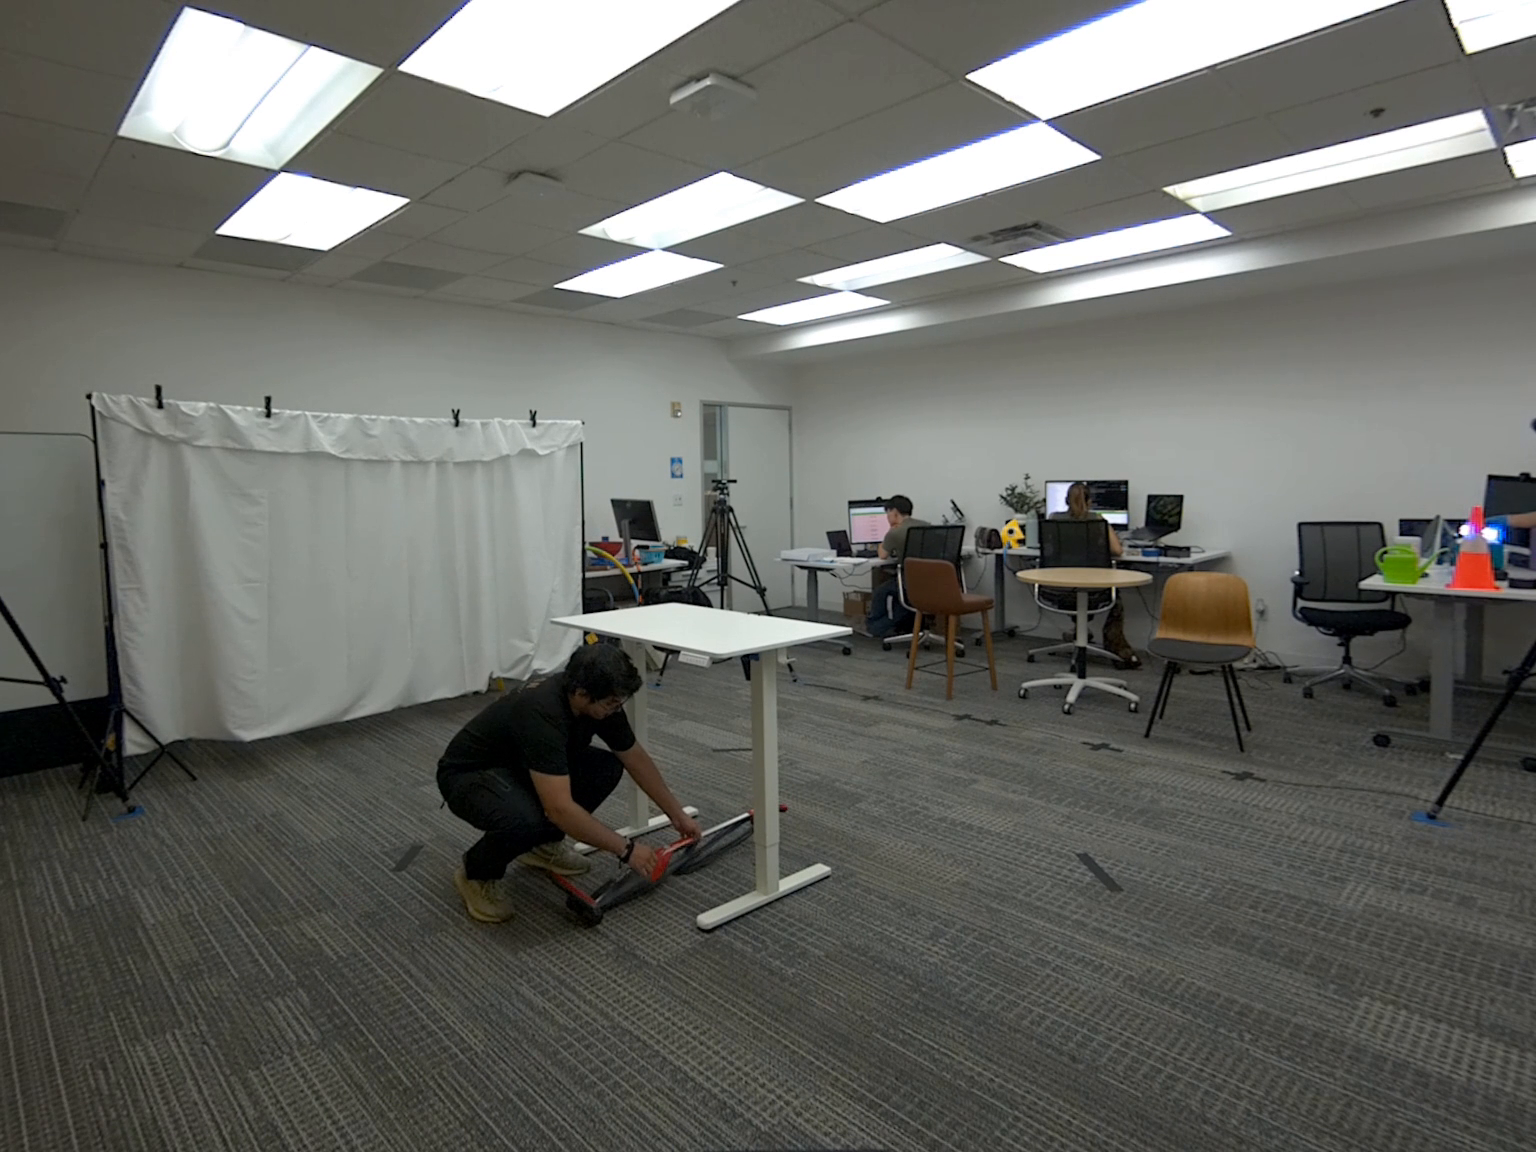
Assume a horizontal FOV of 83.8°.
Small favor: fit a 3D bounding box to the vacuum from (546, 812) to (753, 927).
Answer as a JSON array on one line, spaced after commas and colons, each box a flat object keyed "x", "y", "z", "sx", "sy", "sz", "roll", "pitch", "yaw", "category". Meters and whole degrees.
[{"x": -0.269, "y": 0.995, "z": 3.082, "sx": 0.261, "sy": 0.143, "sz": 1.021, "roll": 8, "pitch": 9, "yaw": 42, "category": "vacuum"}]
